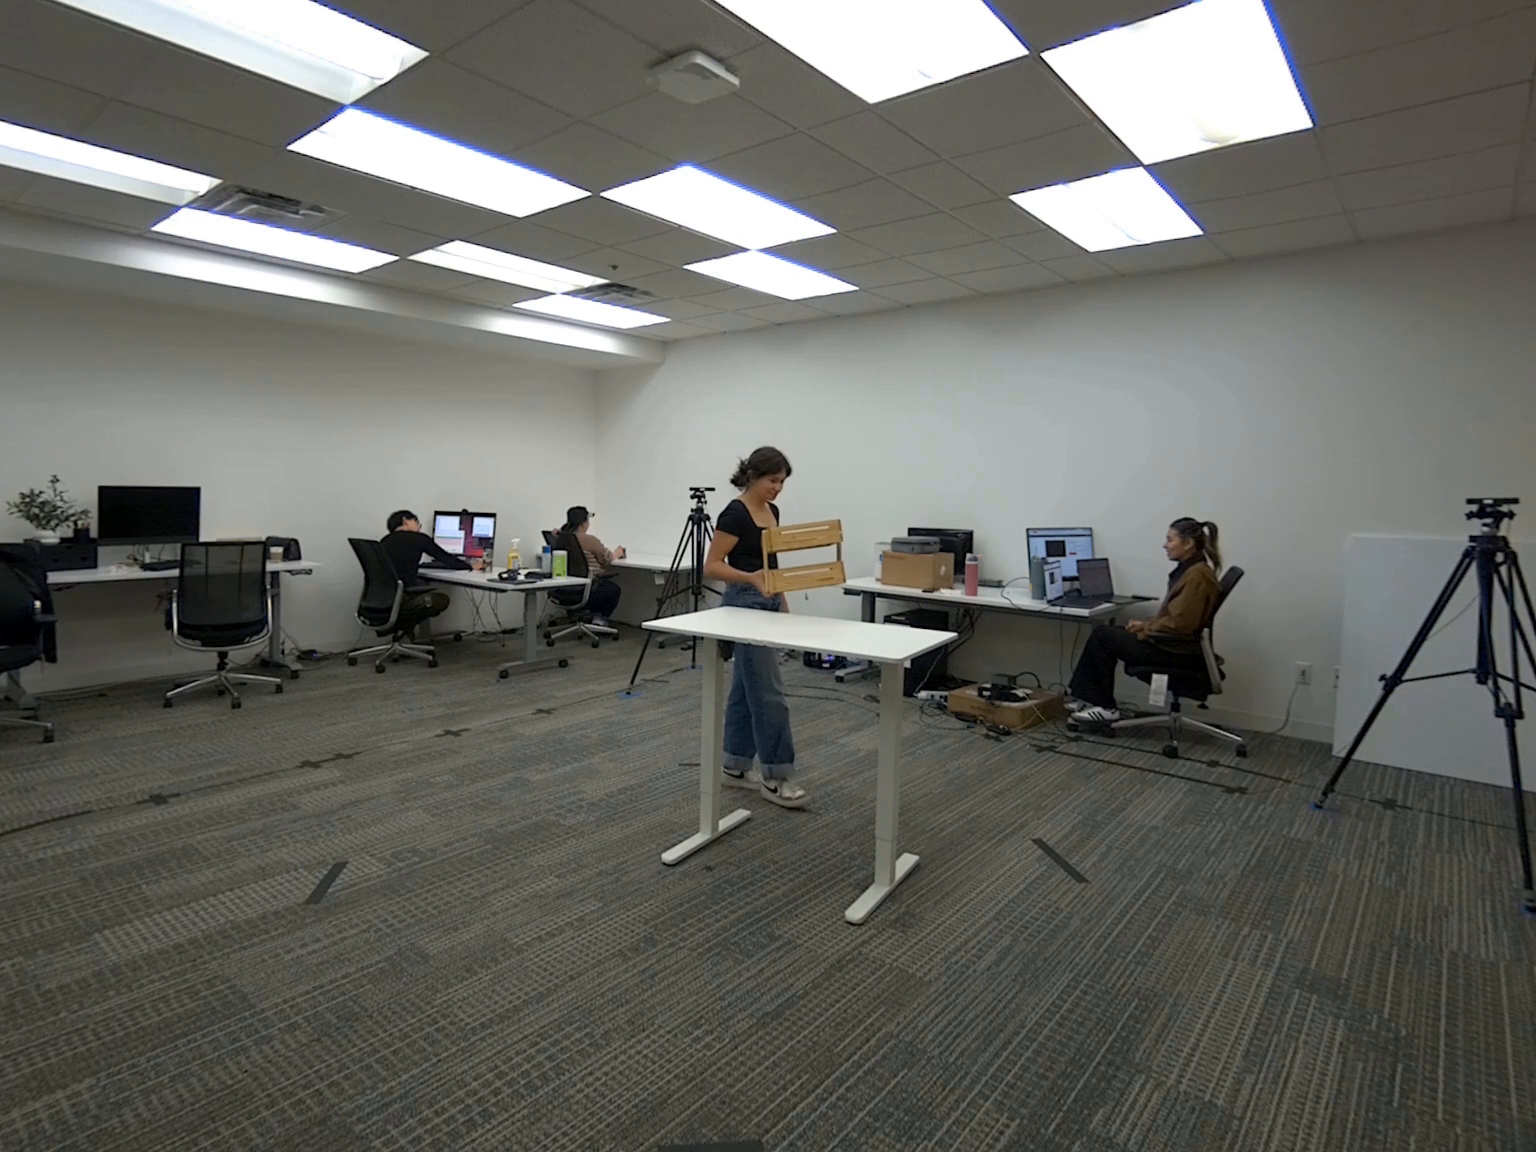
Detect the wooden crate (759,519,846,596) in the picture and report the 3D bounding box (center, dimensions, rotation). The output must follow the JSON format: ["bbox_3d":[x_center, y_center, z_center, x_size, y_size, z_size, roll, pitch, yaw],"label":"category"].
[{"bbox_3d":[0.138,-0.084,3.578,0.323,0.275,0.301,-8,-4,-4],"label":"wooden crate"}]
